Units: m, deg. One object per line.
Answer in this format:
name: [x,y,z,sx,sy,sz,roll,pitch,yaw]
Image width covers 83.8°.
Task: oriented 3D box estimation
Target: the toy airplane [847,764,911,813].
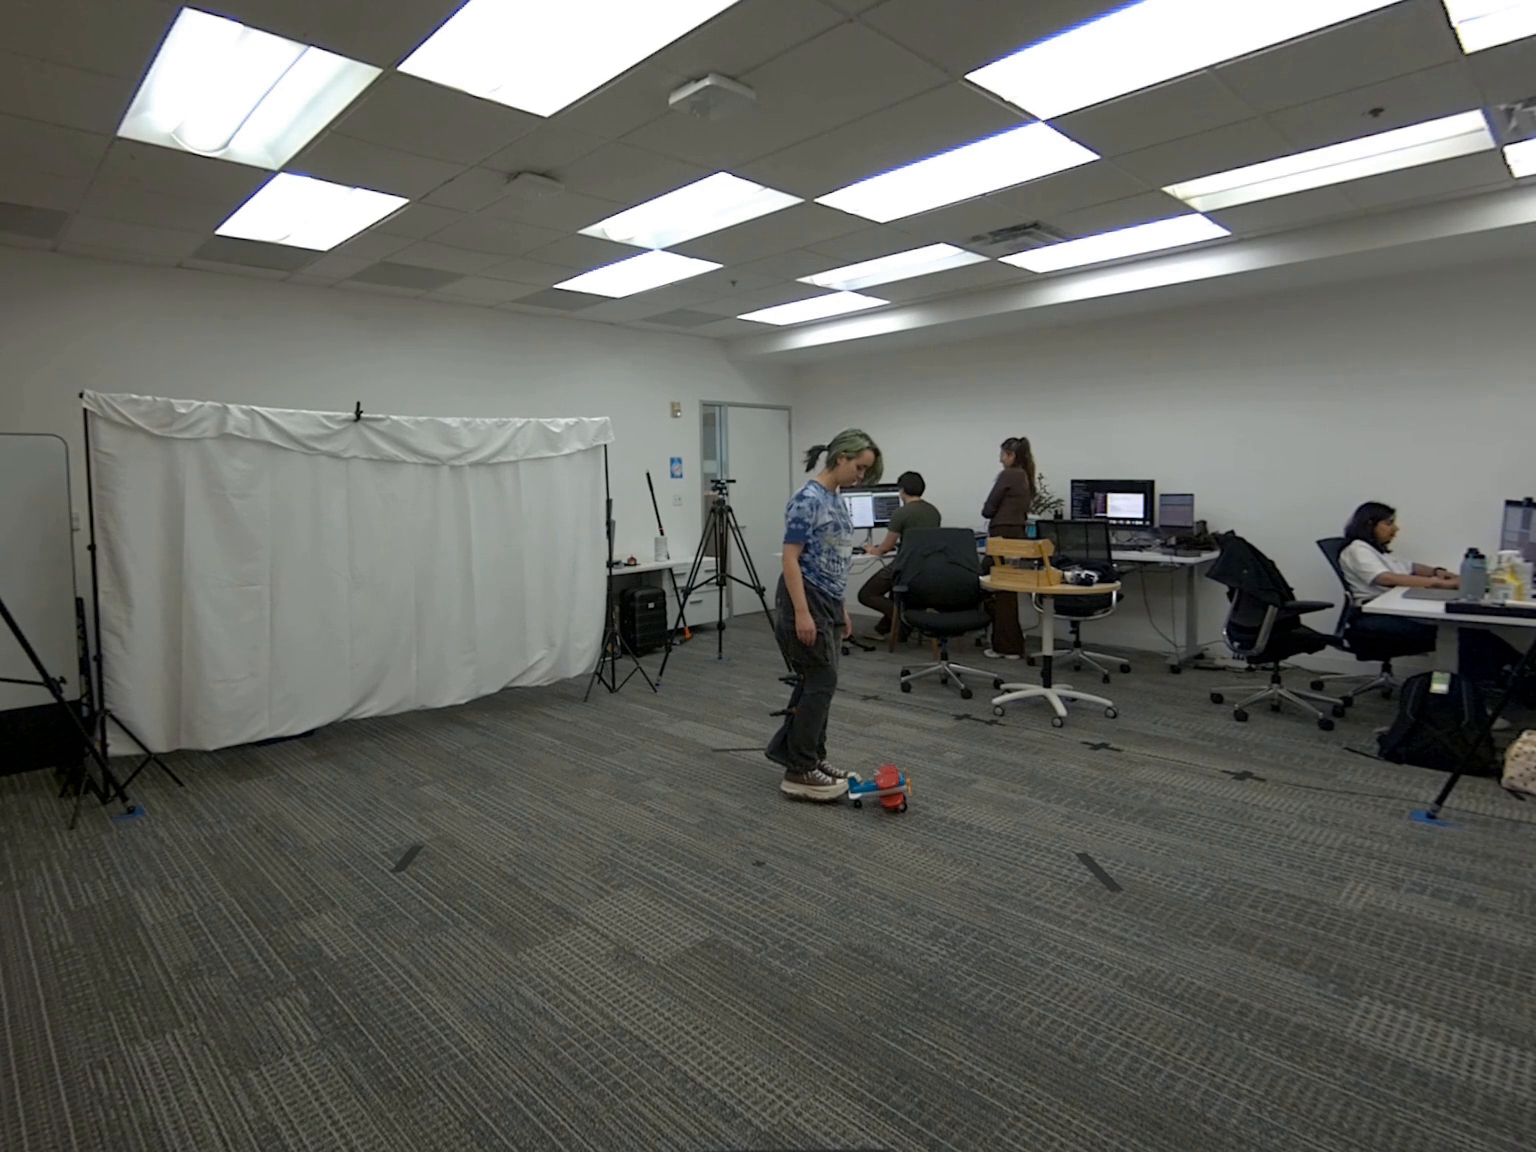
toy airplane: [0.483,0.912,3.603,0.254,0.156,0.257,-2,5,-22]
